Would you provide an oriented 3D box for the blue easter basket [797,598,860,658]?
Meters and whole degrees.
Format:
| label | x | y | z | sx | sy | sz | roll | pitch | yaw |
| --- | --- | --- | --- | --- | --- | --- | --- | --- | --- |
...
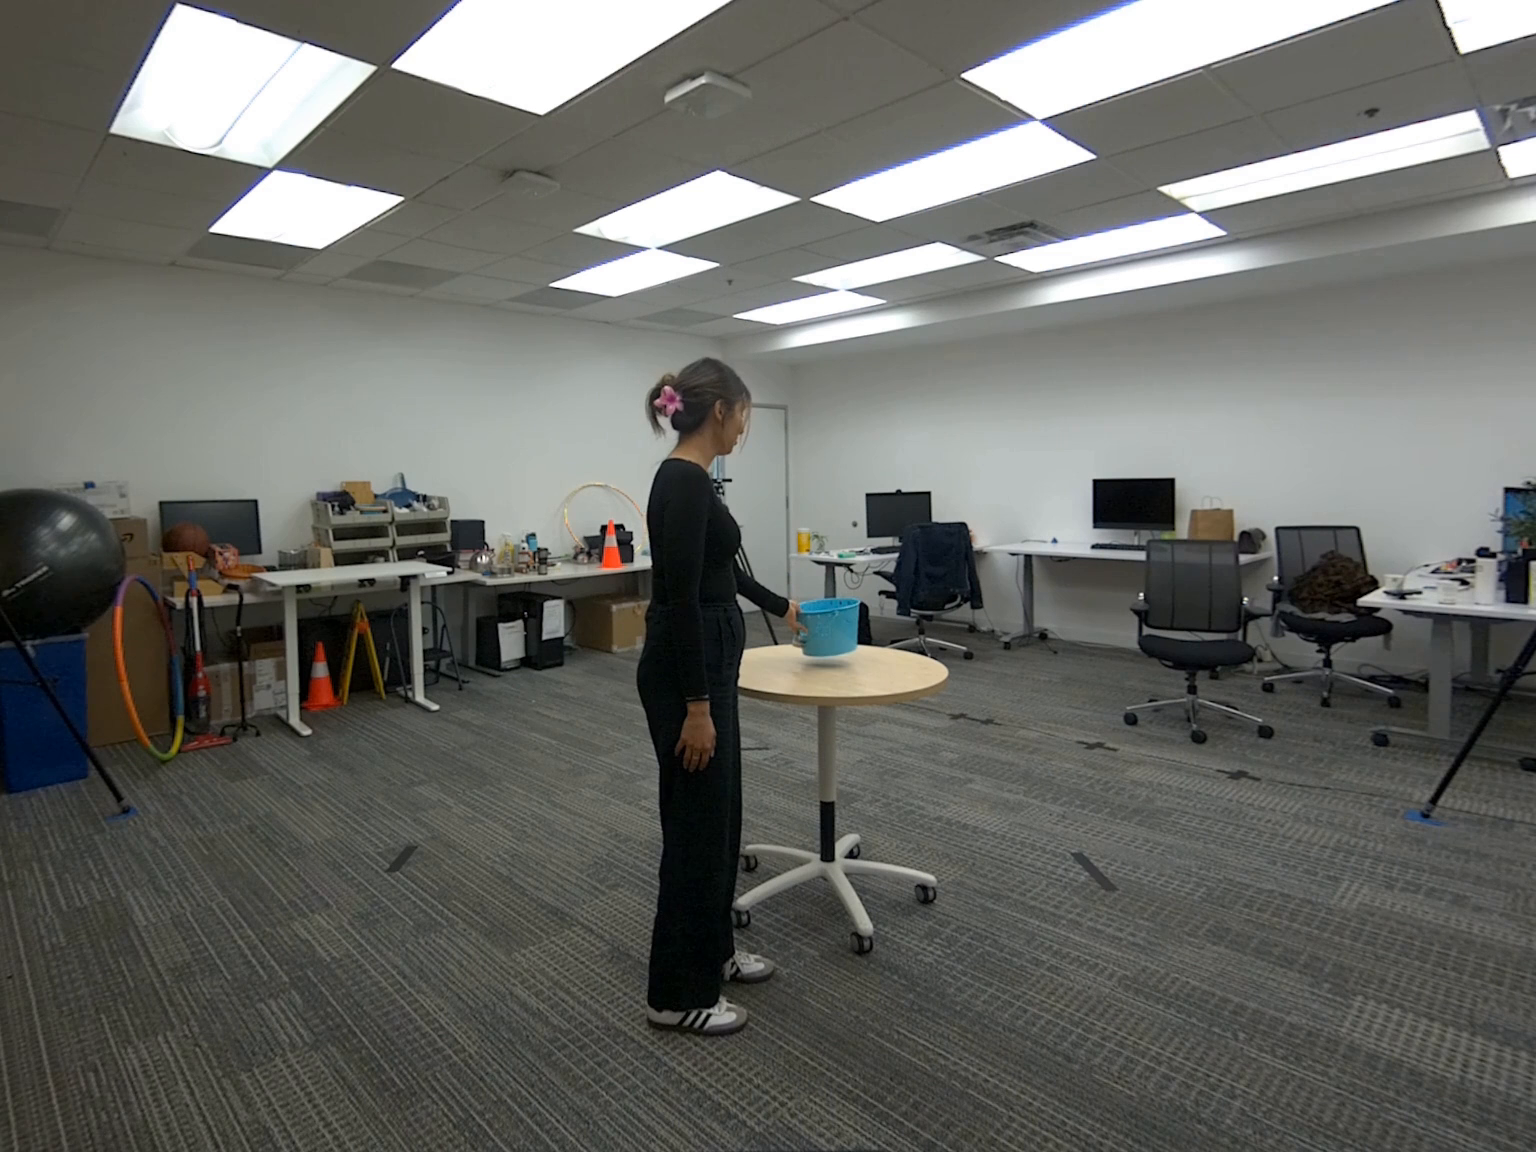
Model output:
| label | x | y | z | sx | sy | sz | roll | pitch | yaw |
| --- | --- | --- | --- | --- | --- | --- | --- | --- | --- |
| blue easter basket | 0.193 | 0.173 | 2.807 | 0.243 | 0.155 | 0.245 | -7 | 6 | -1 |
